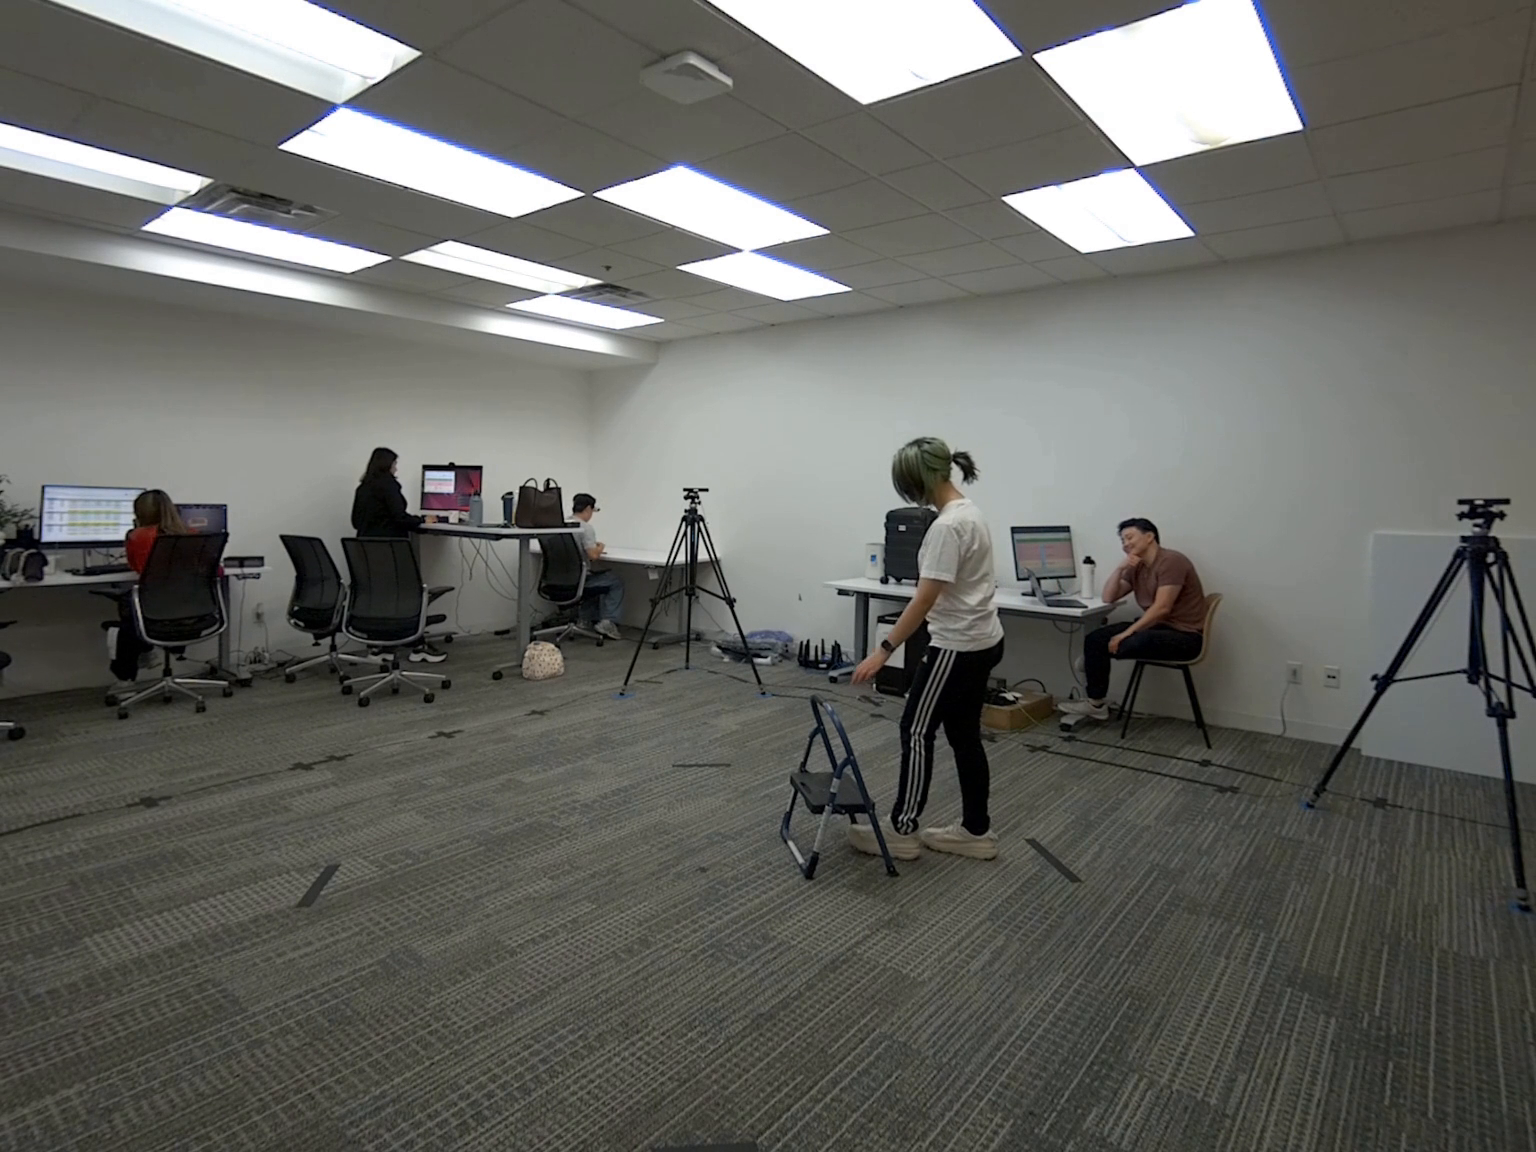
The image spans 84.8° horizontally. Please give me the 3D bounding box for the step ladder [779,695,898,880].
[{"bbox_3d":[0.260,0.766,3.252,0.345,0.604,0.437,1,4,-12],"label":"step ladder"}]
